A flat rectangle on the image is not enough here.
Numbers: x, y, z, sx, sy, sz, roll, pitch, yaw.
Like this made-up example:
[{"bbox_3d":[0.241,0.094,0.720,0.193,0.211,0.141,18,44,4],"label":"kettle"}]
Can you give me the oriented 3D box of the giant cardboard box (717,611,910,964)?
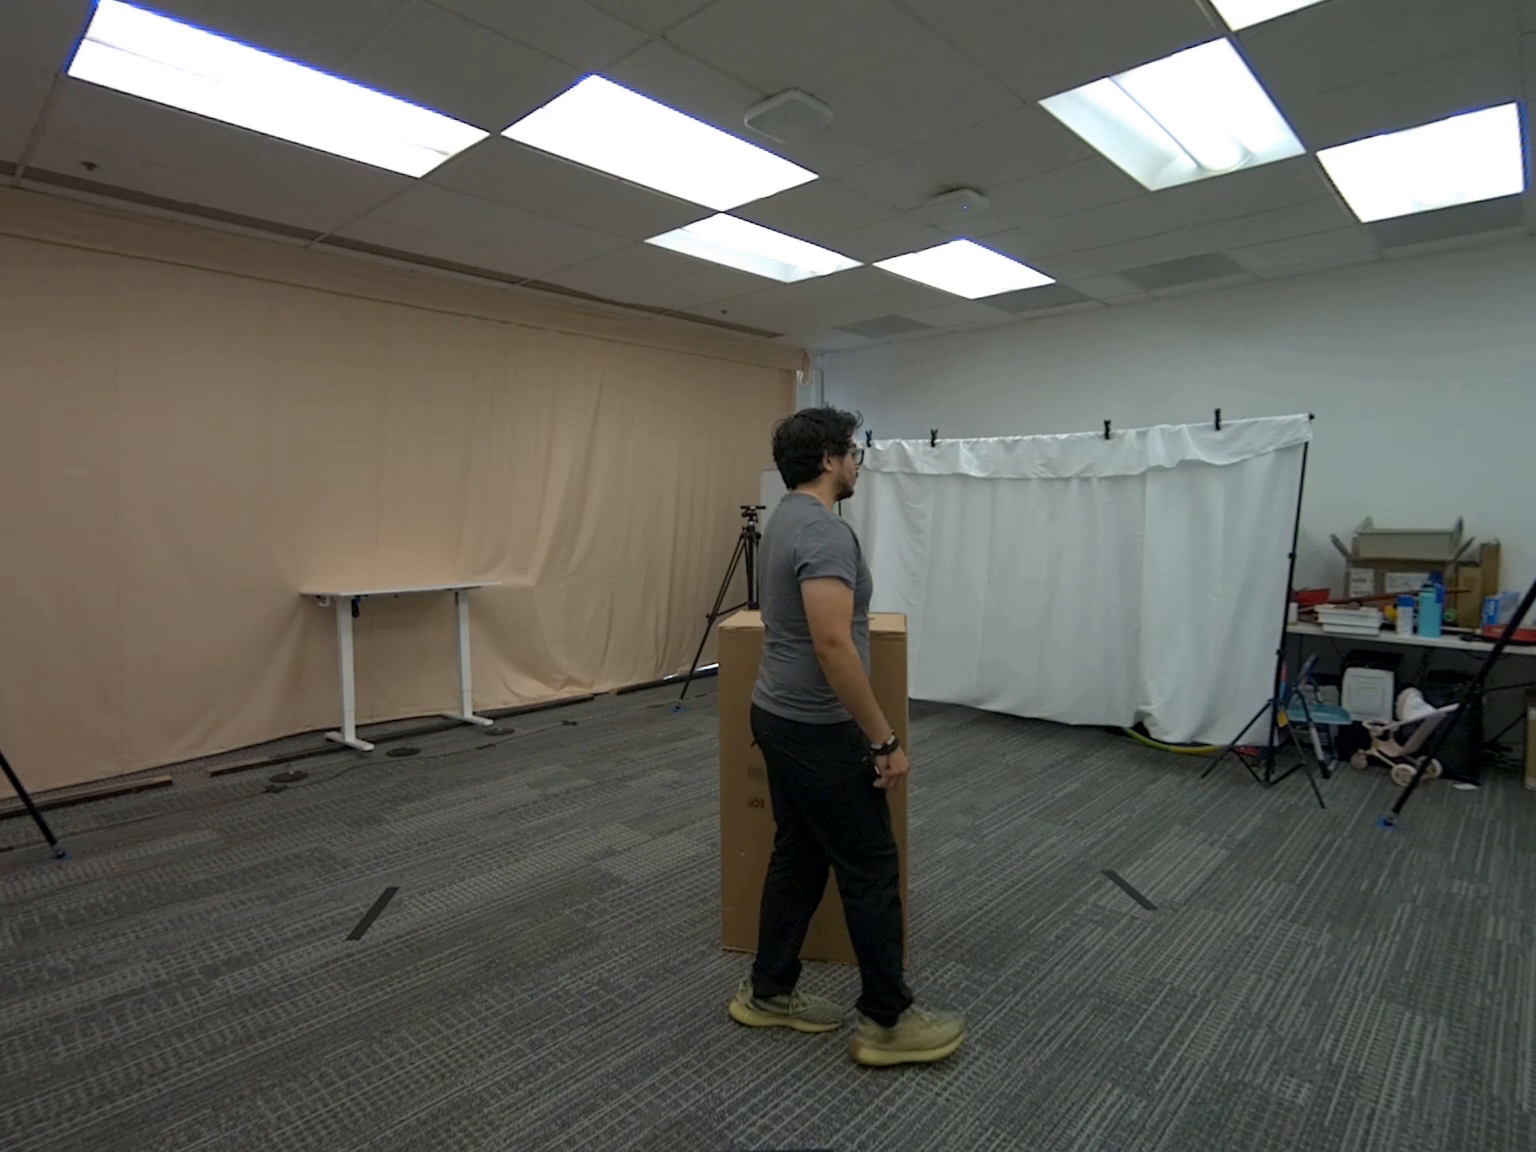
[{"bbox_3d":[0.163,0.650,2.764,0.585,1.024,0.421,0,3,11],"label":"giant cardboard box"}]
